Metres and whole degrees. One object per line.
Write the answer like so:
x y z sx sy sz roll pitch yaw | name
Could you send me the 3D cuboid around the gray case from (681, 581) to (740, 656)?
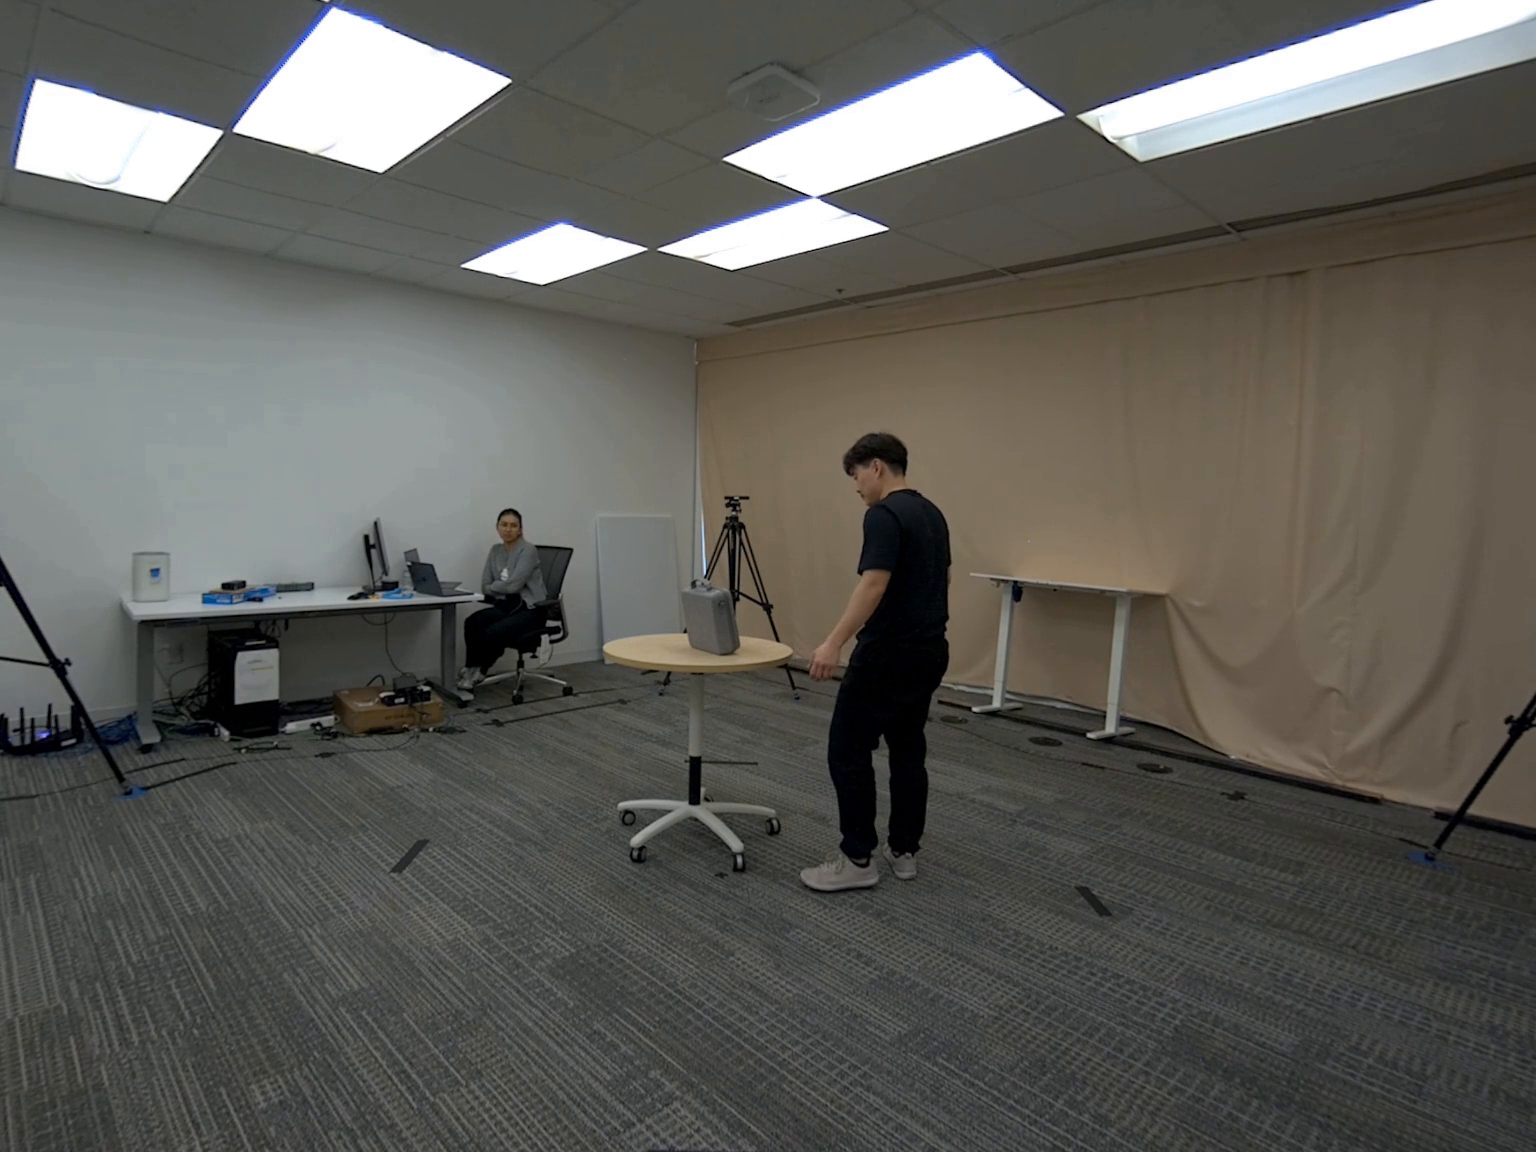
-0.231 0.166 3.334 0.103 0.259 0.263 -15 11 -32 | gray case
